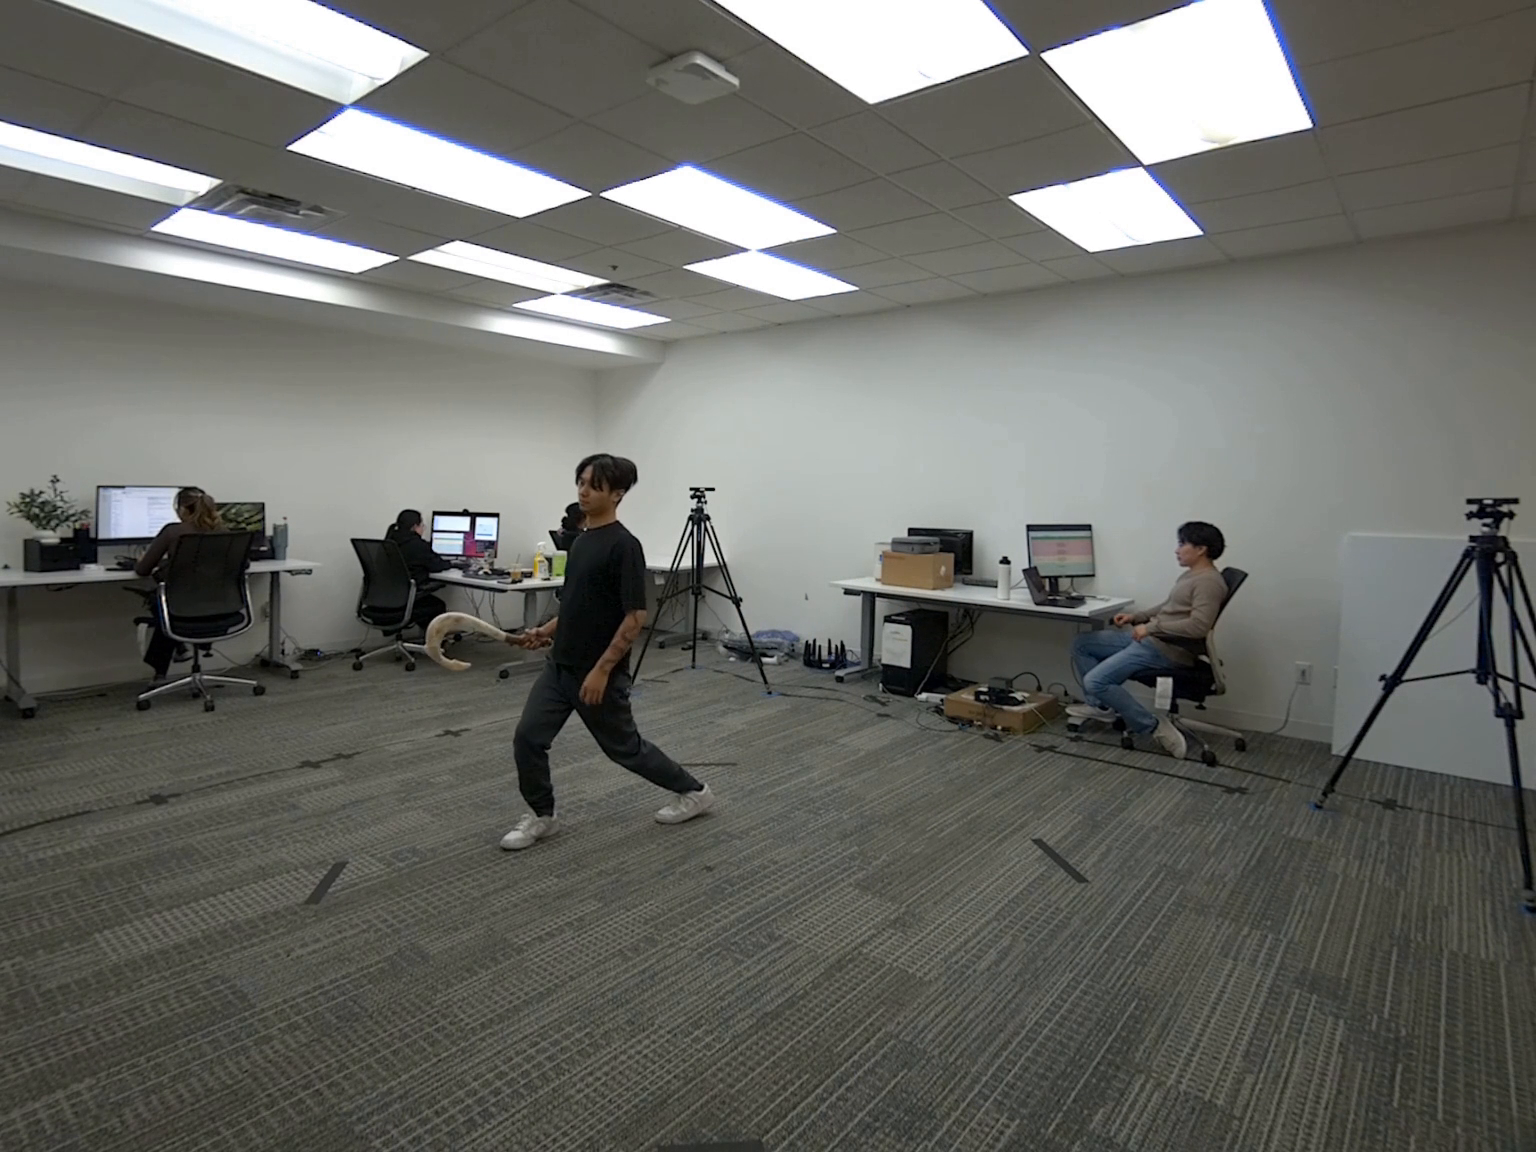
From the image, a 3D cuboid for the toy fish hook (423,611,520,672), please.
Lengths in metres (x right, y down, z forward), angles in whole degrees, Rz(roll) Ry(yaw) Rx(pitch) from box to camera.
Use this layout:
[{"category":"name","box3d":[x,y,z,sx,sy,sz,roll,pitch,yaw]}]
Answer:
[{"category":"toy fish hook","box3d":[-1.129,0.275,3.429,0.492,0.225,0.049,12,0,-25]}]
